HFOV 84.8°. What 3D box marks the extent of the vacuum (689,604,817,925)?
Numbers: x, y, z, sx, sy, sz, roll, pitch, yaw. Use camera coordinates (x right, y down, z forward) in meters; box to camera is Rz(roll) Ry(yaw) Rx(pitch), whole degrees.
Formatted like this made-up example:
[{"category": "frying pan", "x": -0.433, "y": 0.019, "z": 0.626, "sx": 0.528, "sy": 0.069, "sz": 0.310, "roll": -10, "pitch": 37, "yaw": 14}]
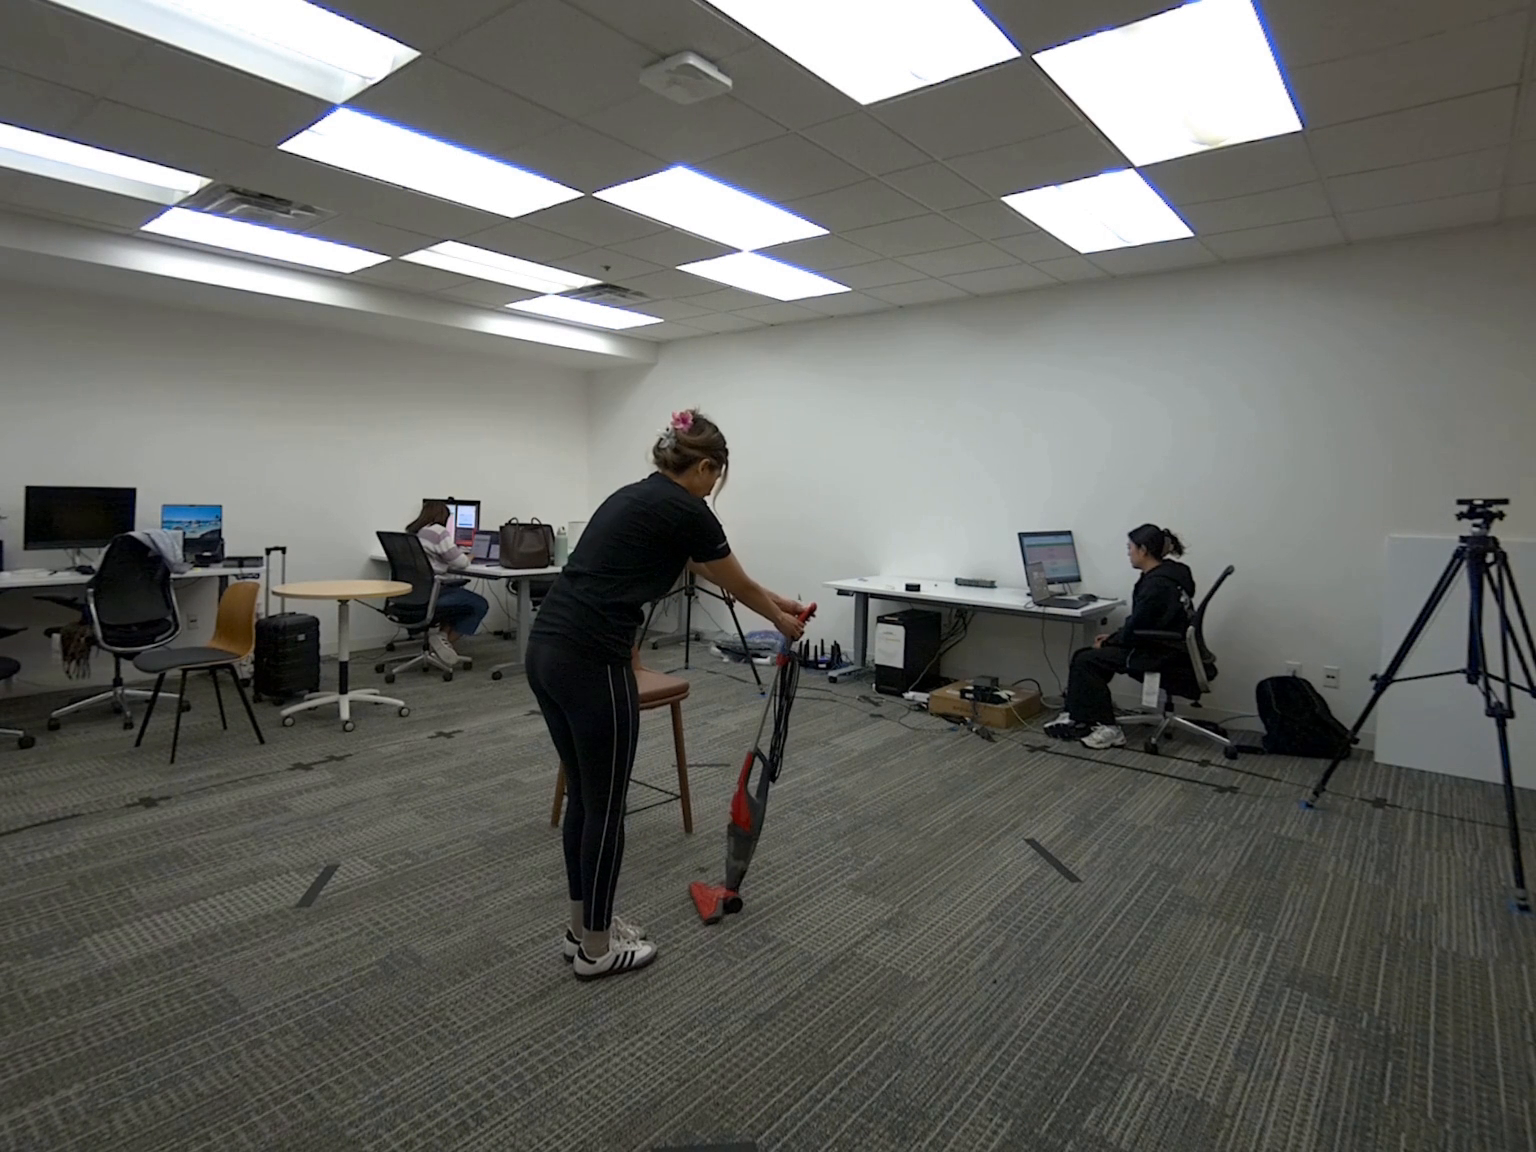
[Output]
[{"category": "vacuum", "x": -0.018, "y": 0.599, "z": 2.865, "sx": 0.140, "sy": 1.052, "sz": 0.258, "roll": 20, "pitch": -4, "yaw": -22}]
